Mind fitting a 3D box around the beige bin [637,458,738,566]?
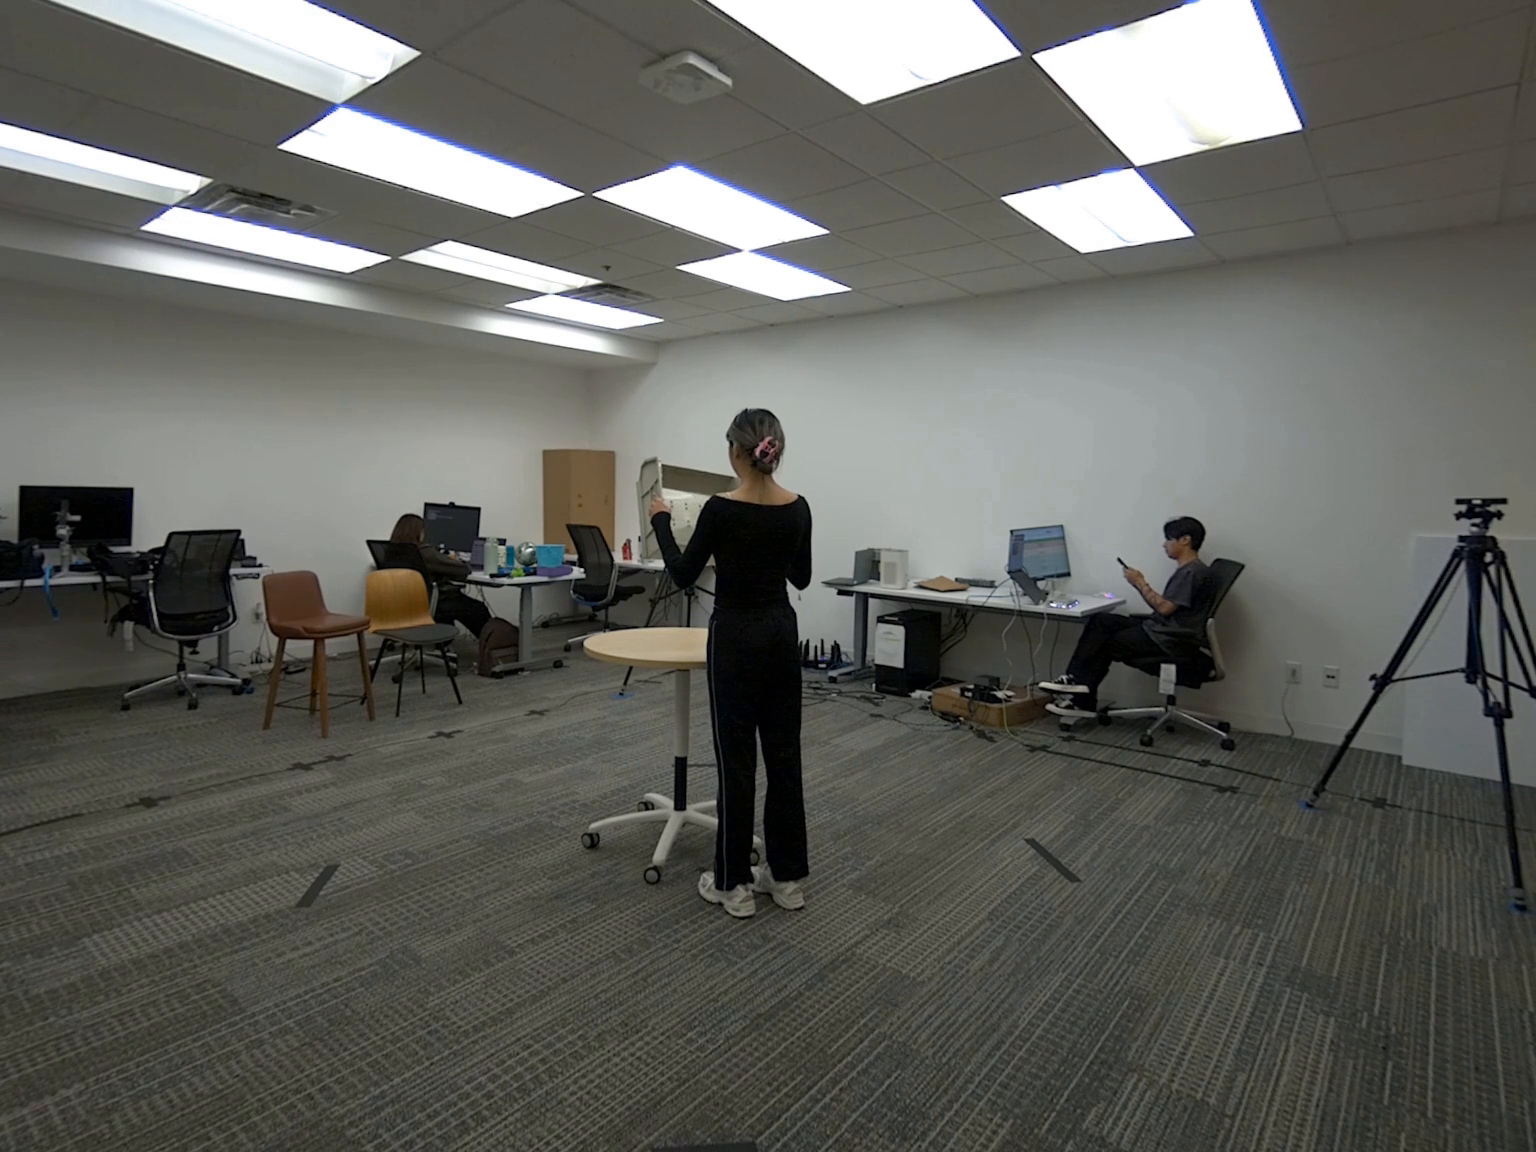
[{"bbox_3d":[-0.273,-0.238,3.184,0.409,0.385,0.191,6,-24,-34],"label":"beige bin"}]
